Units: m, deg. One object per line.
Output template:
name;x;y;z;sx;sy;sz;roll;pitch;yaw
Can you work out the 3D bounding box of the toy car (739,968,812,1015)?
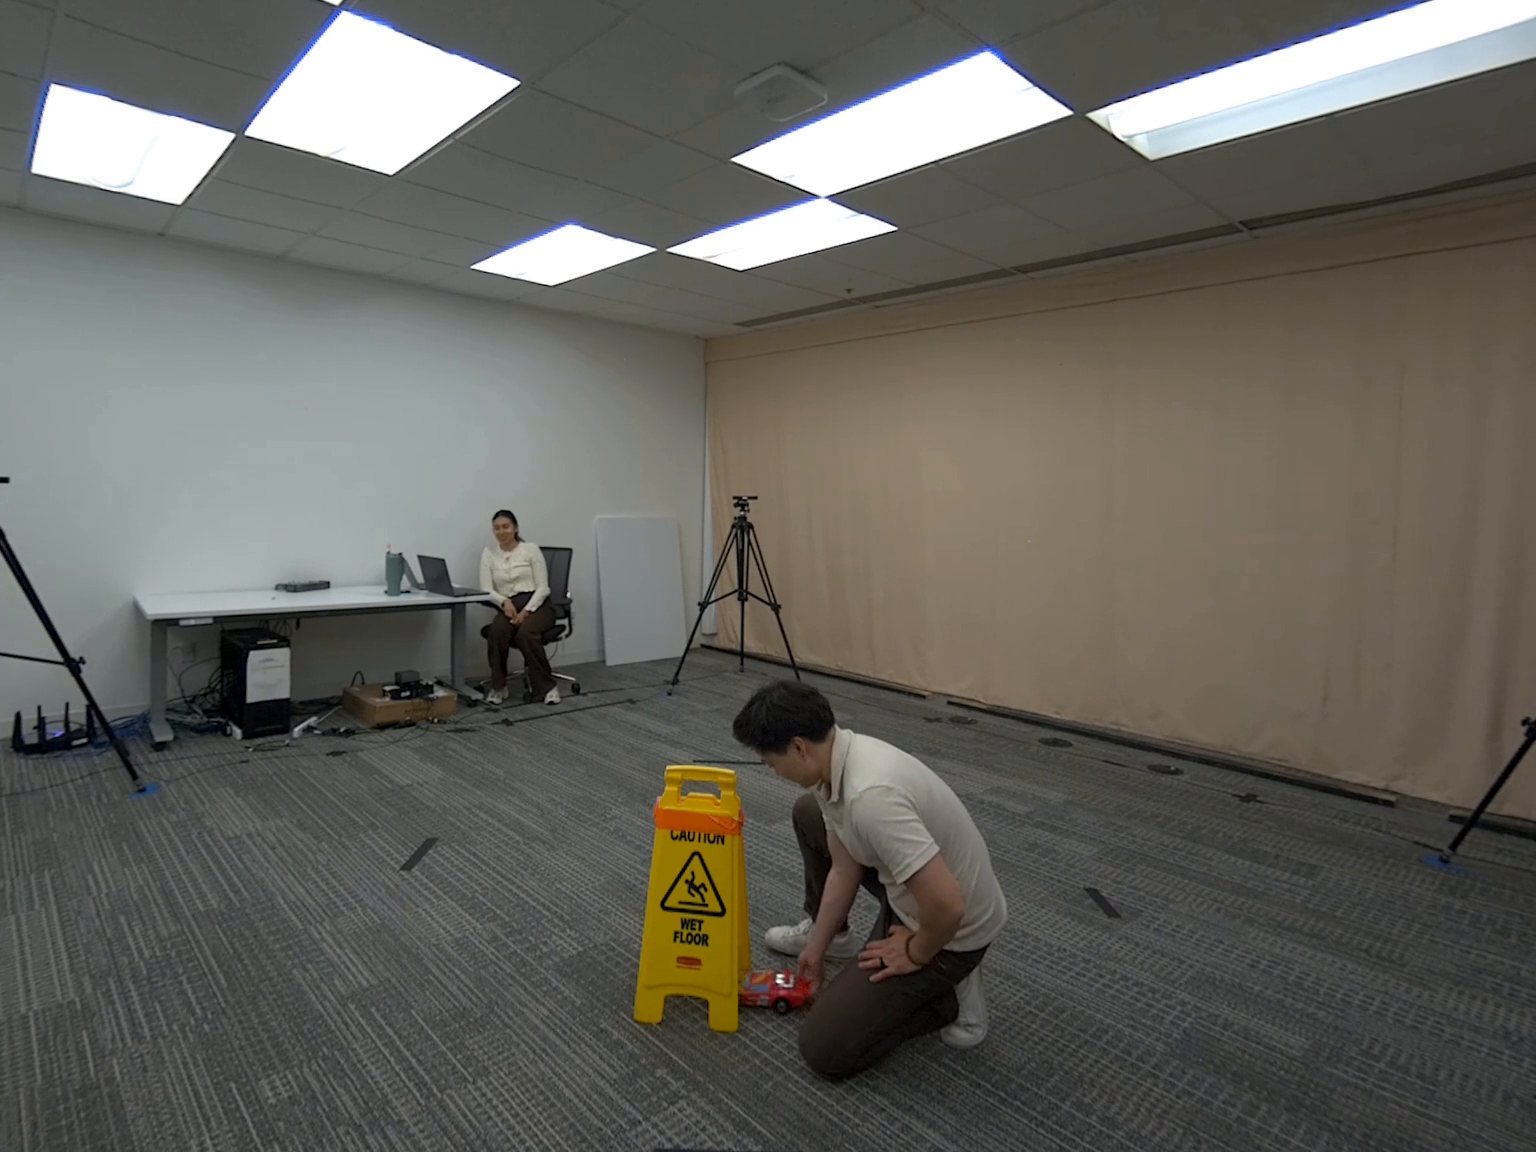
toy car;-0.033;1.149;2.326;0.256;0.083;0.130;-8;3;6
